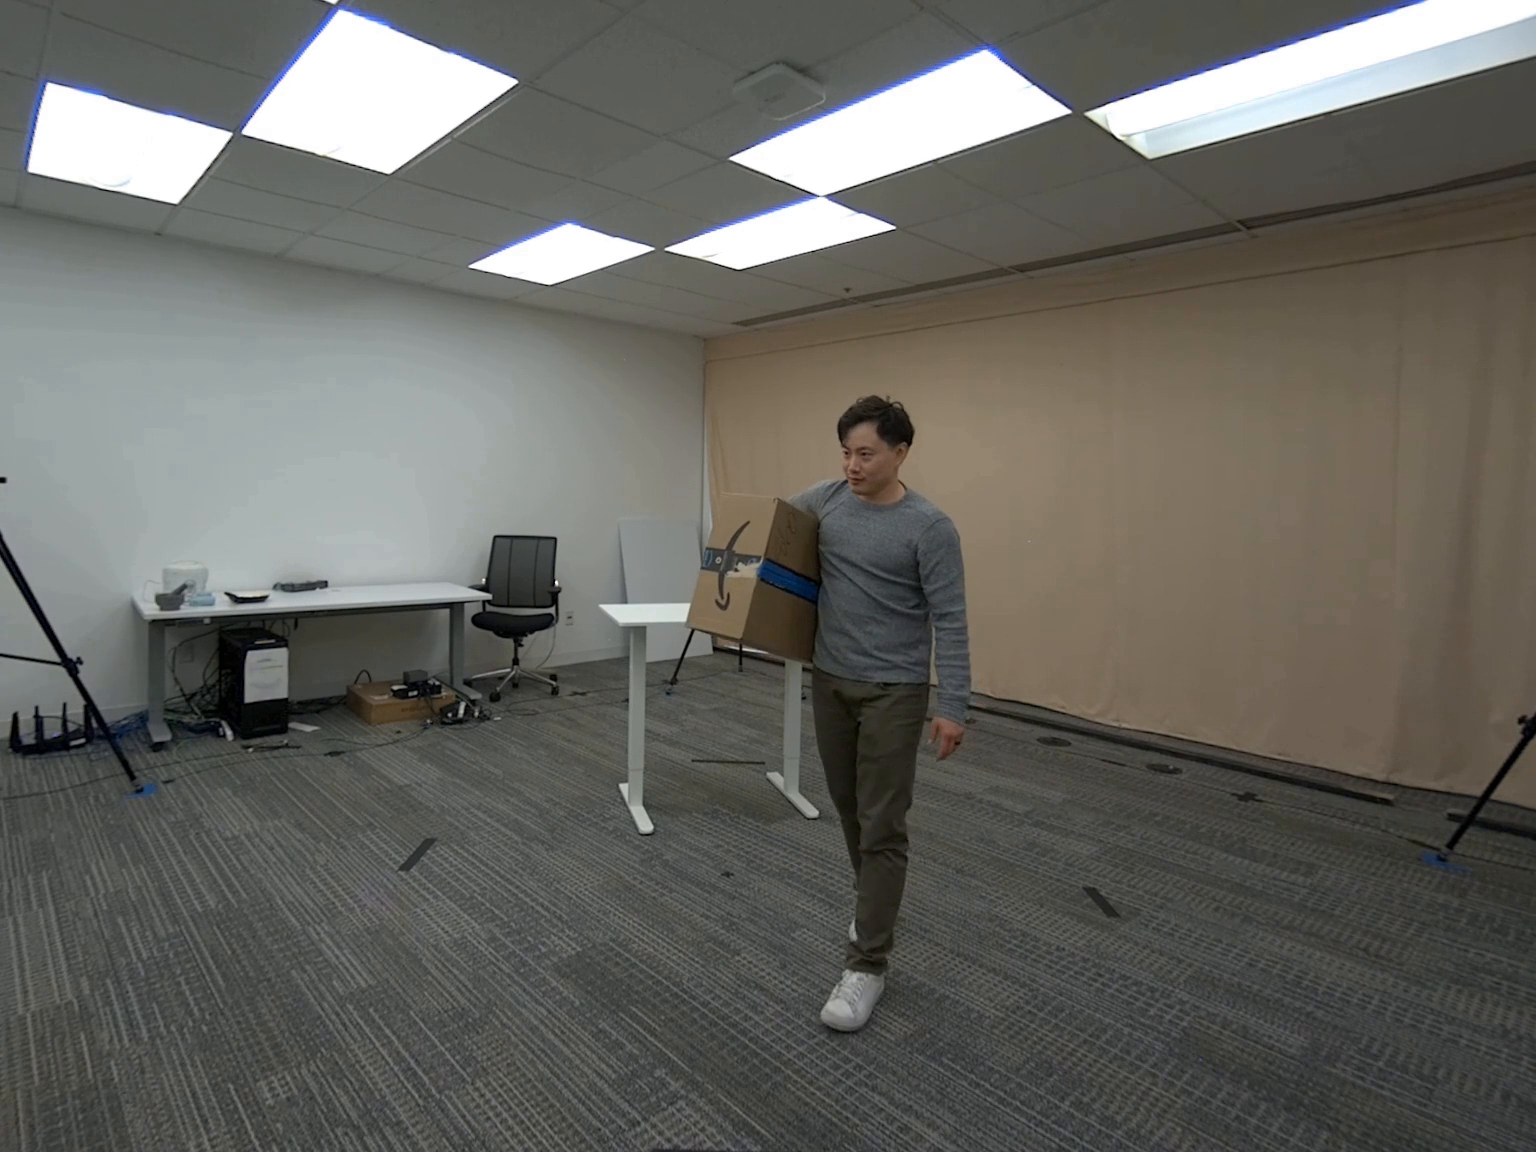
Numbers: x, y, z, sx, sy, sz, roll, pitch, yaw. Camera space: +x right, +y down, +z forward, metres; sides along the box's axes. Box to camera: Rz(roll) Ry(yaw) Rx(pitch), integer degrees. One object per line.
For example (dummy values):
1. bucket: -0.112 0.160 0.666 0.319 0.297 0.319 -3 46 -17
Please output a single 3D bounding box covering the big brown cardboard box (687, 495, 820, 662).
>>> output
1. big brown cardboard box: 0.043 0.031 2.621 0.239 0.419 0.571 8 -10 37
